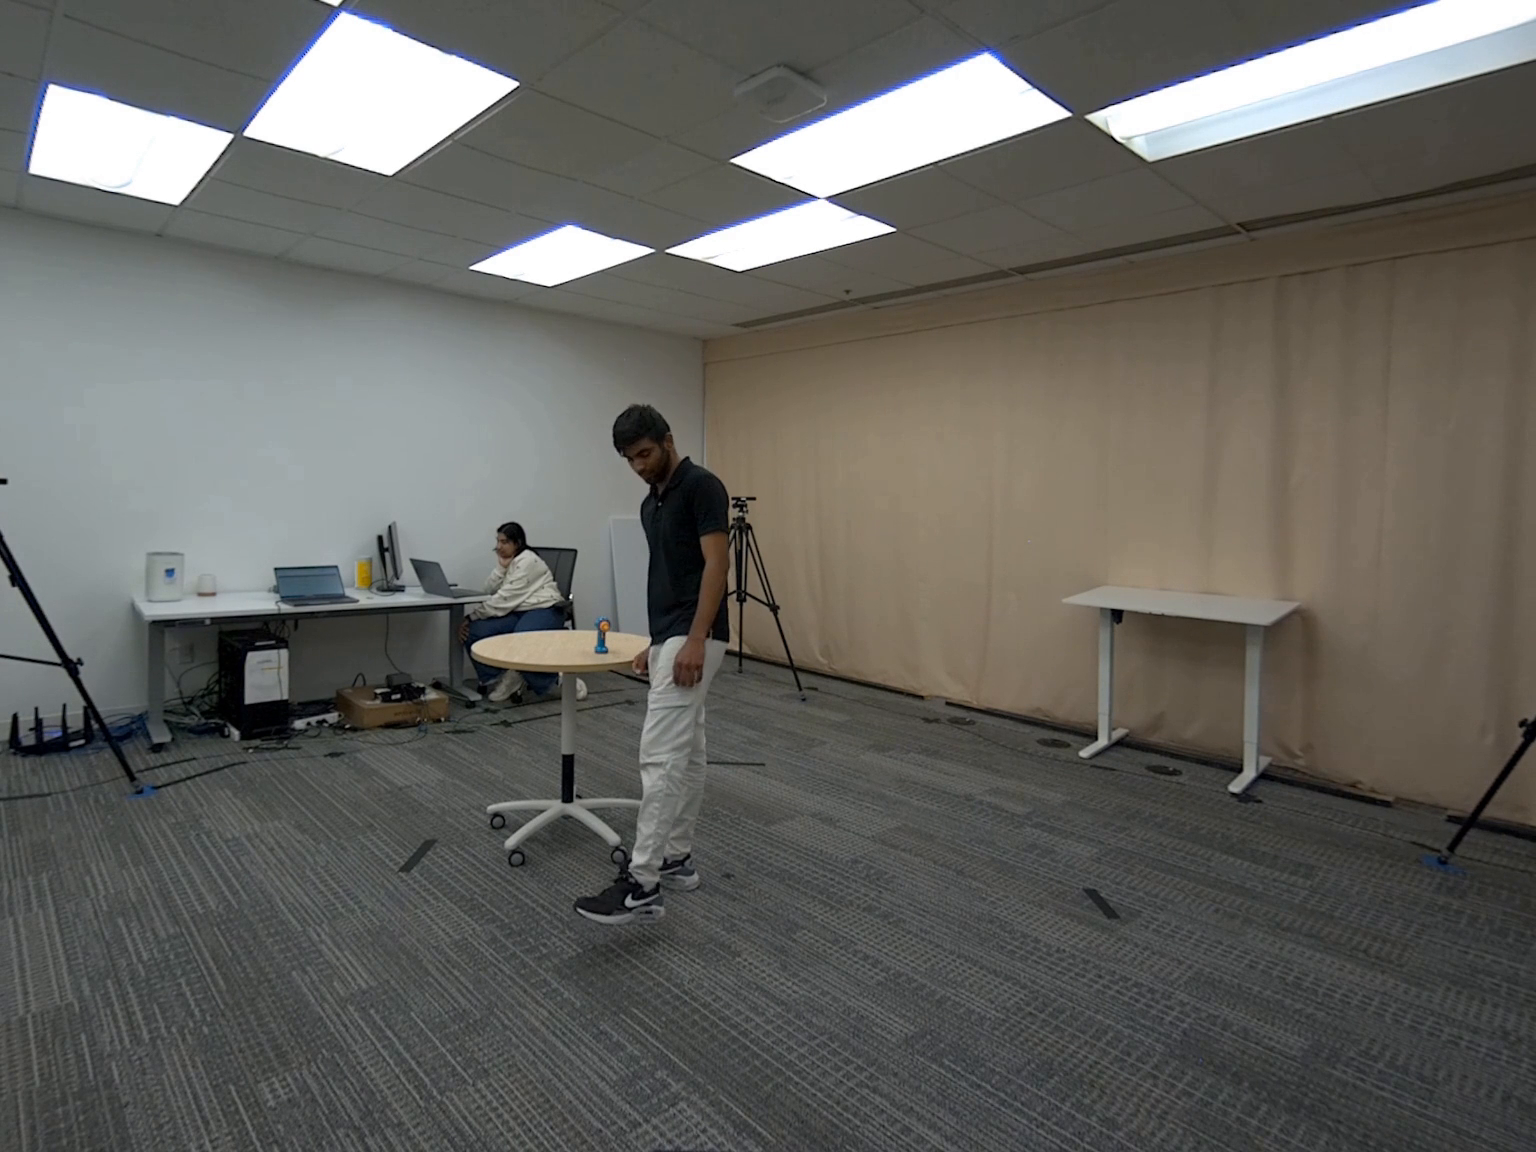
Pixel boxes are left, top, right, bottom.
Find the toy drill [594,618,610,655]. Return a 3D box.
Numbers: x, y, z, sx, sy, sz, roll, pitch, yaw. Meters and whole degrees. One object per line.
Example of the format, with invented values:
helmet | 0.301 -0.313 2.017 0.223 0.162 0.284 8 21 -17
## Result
toy drill | -0.647 0.230 3.239 0.060 0.145 0.172 1 5 -16
